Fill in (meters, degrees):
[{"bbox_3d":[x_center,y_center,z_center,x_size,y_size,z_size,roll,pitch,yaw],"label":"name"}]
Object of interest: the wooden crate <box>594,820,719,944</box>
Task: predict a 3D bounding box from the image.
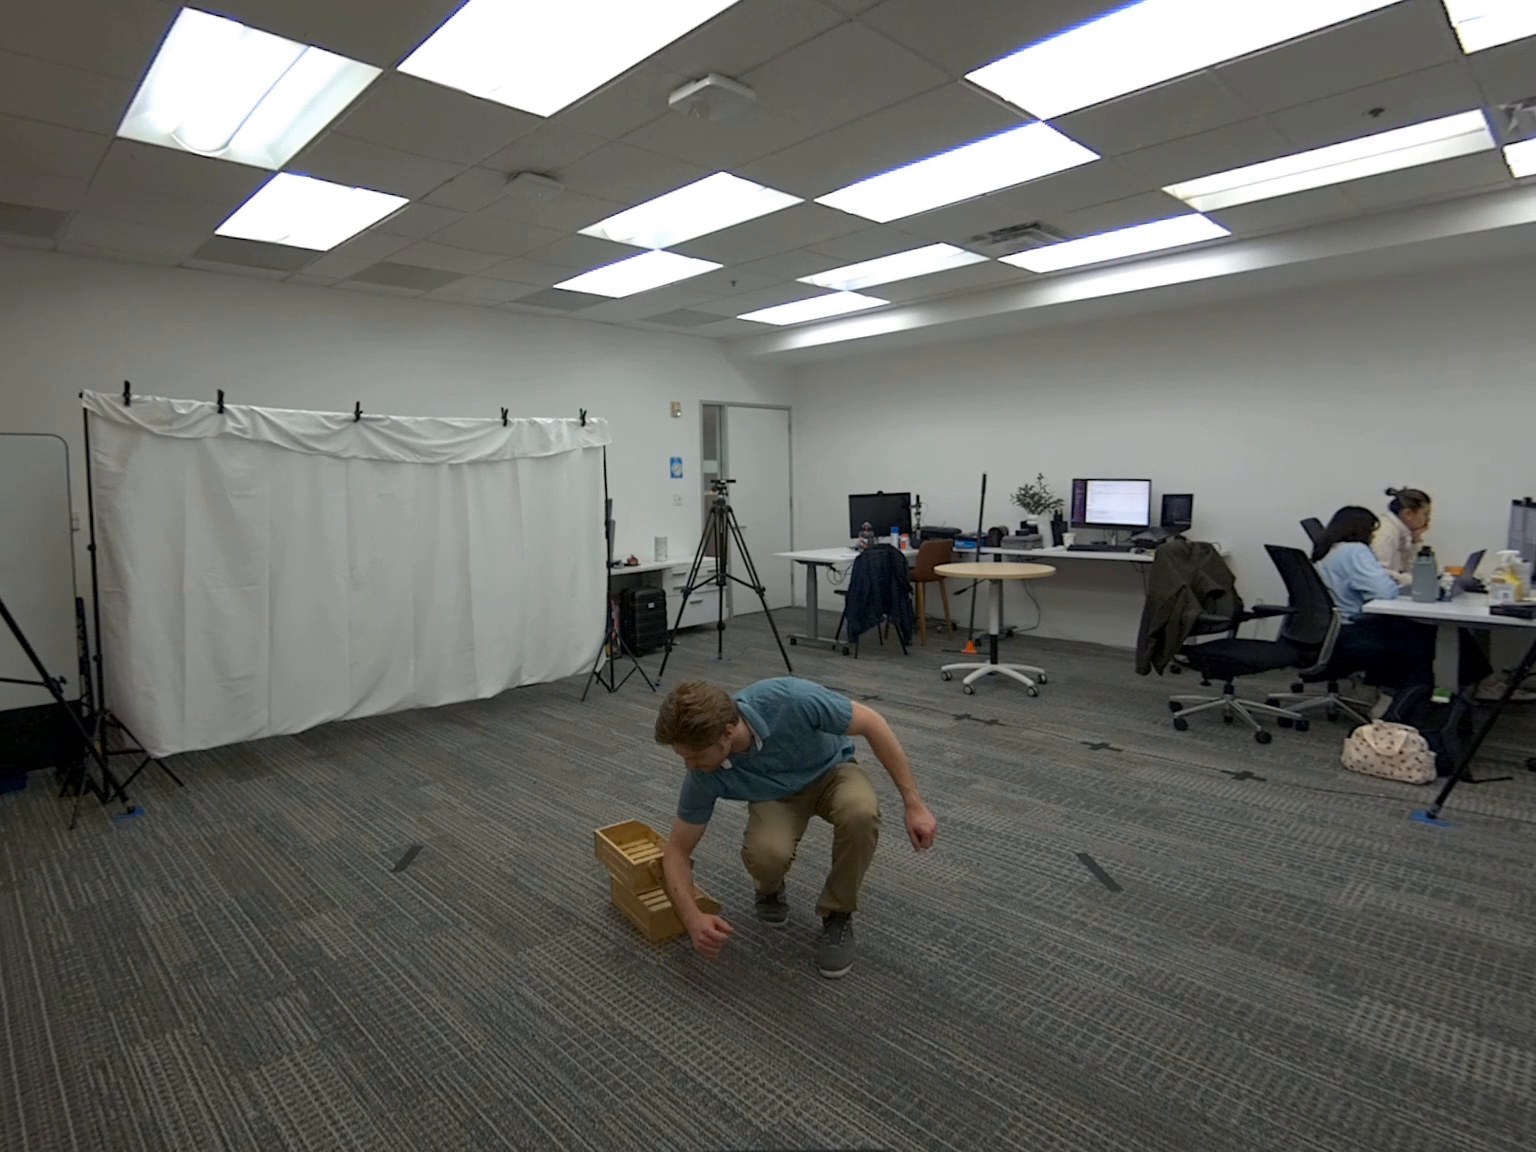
[{"bbox_3d":[-0.352,0.957,2.758,0.295,0.272,0.334,-6,7,-33],"label":"wooden crate"}]
